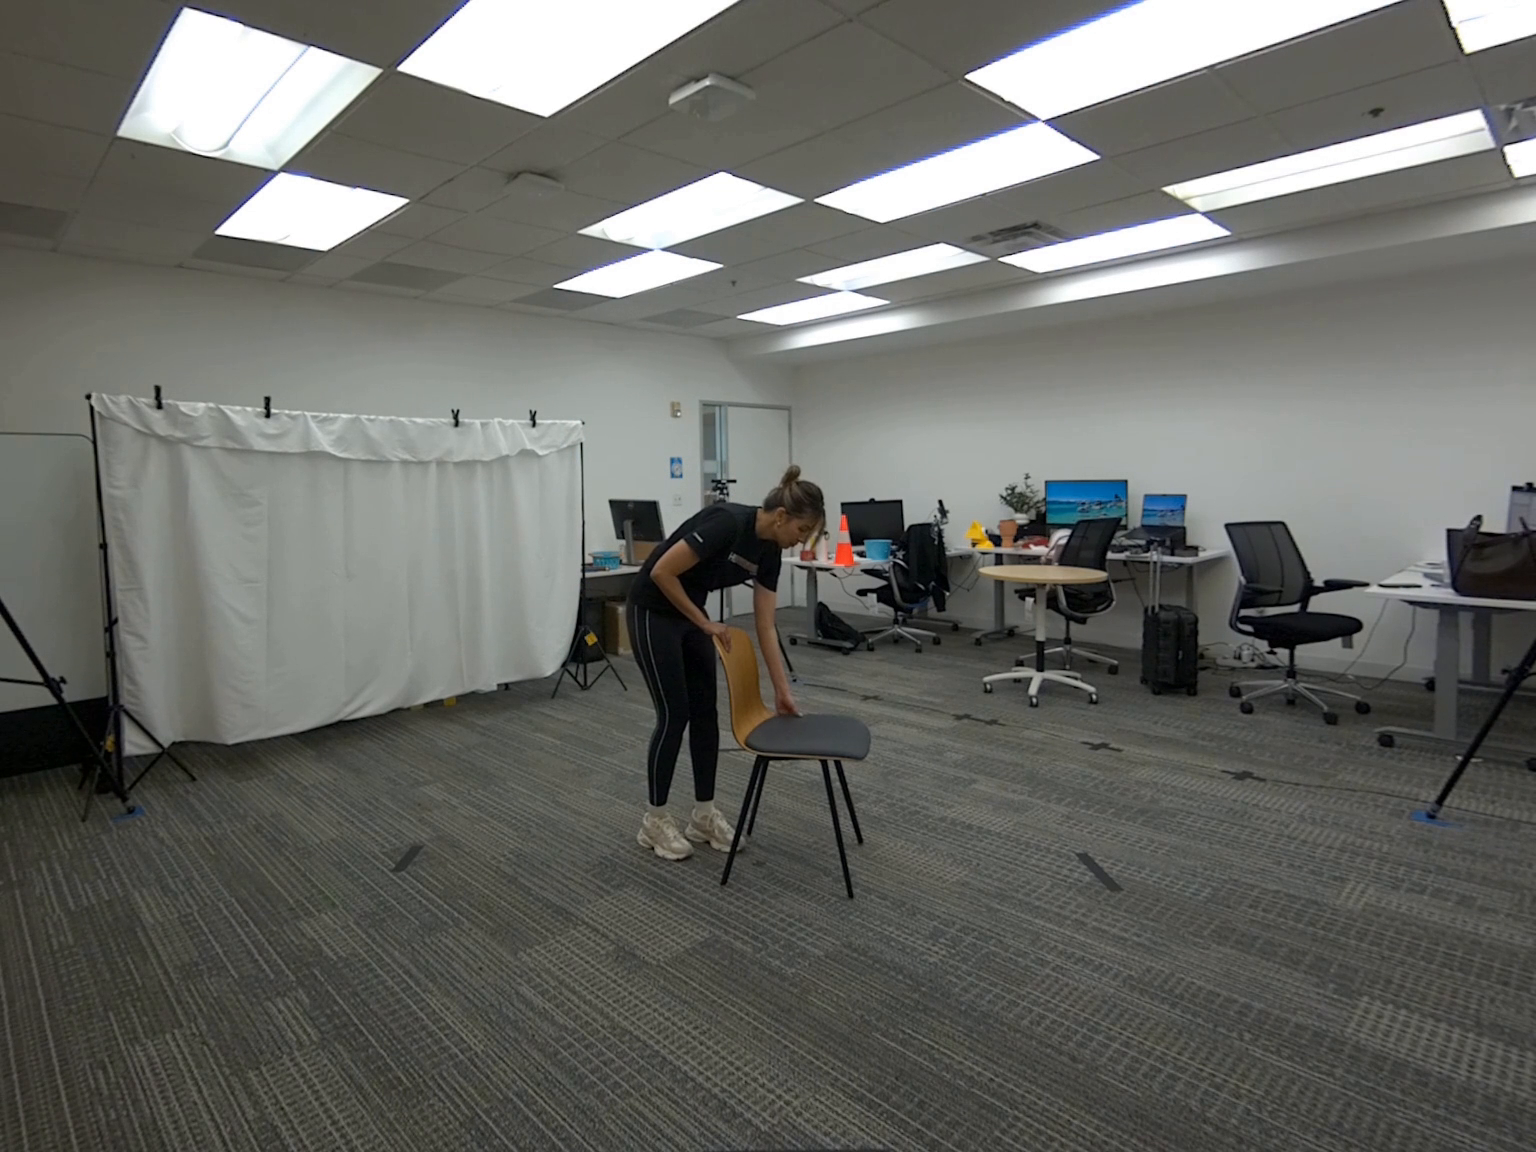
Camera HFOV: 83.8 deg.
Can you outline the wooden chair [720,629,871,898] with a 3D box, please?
[{"bbox_3d":[0.106,0.620,3.075,0.530,0.876,0.473,-4,2,13],"label":"wooden chair"}]
